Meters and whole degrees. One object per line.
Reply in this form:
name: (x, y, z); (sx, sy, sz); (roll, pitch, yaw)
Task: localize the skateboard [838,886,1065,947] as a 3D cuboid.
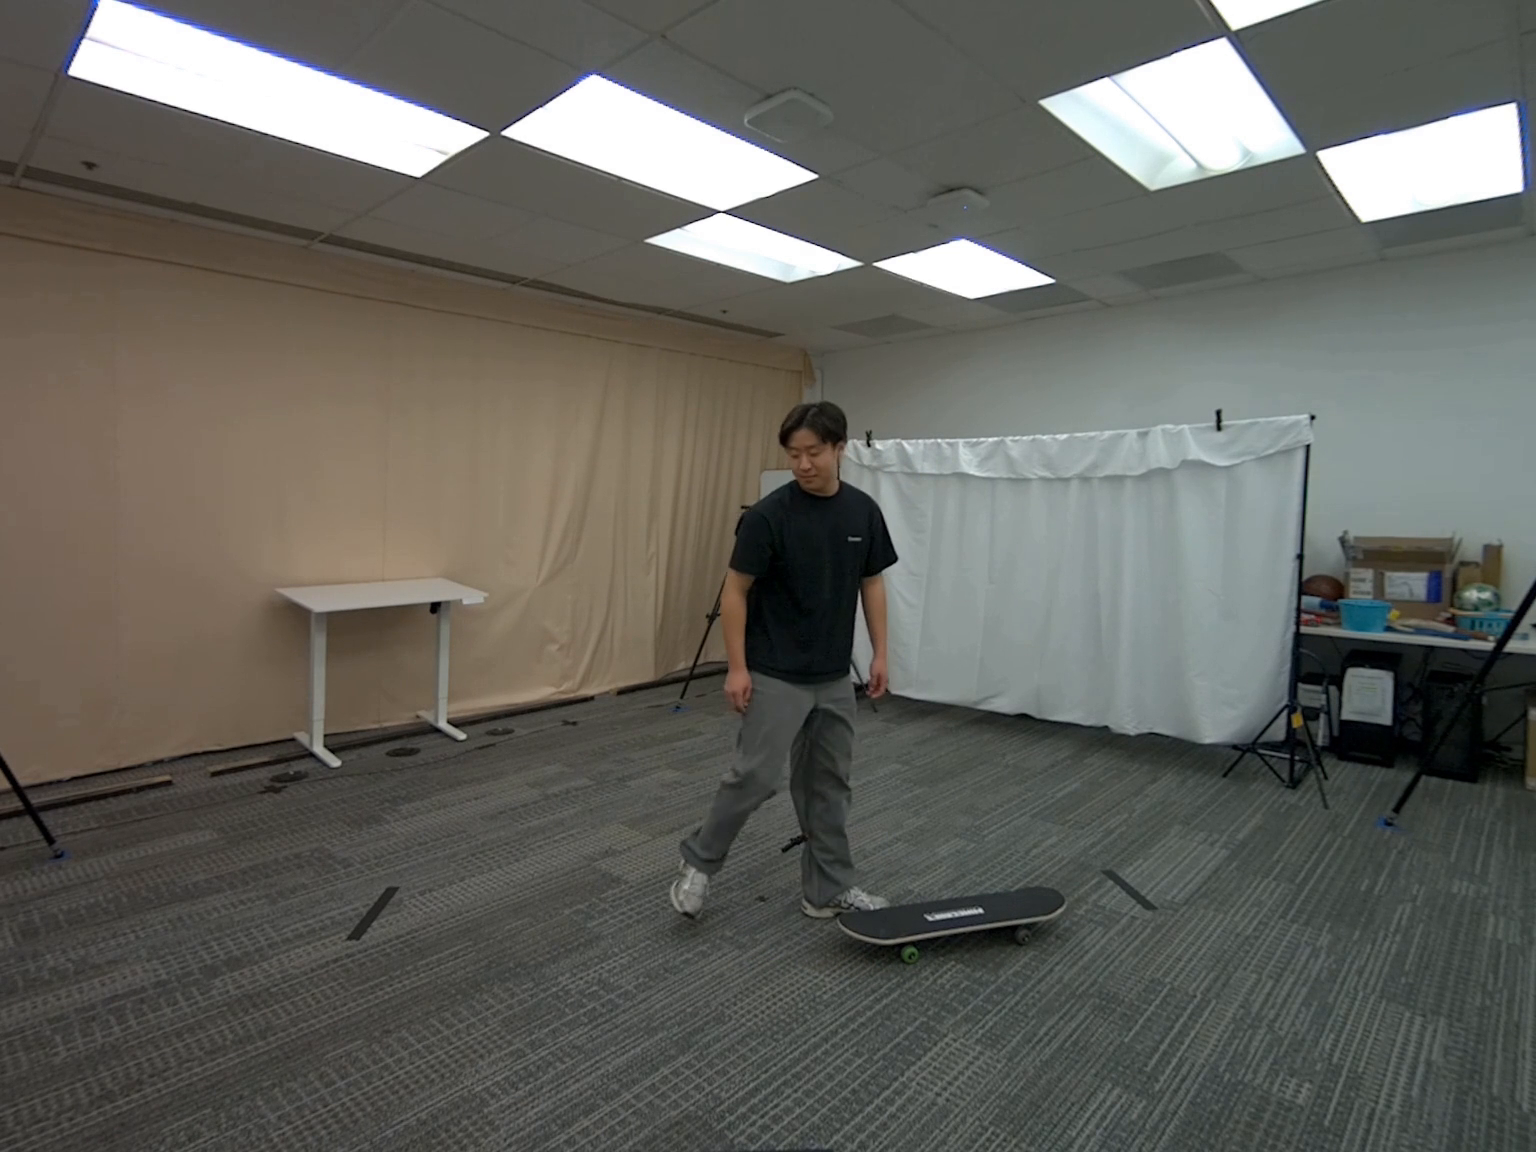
skateboard: (0.605, 1.112, 2.681); (0.773, 0.110, 0.197); (-2, 5, -16)
